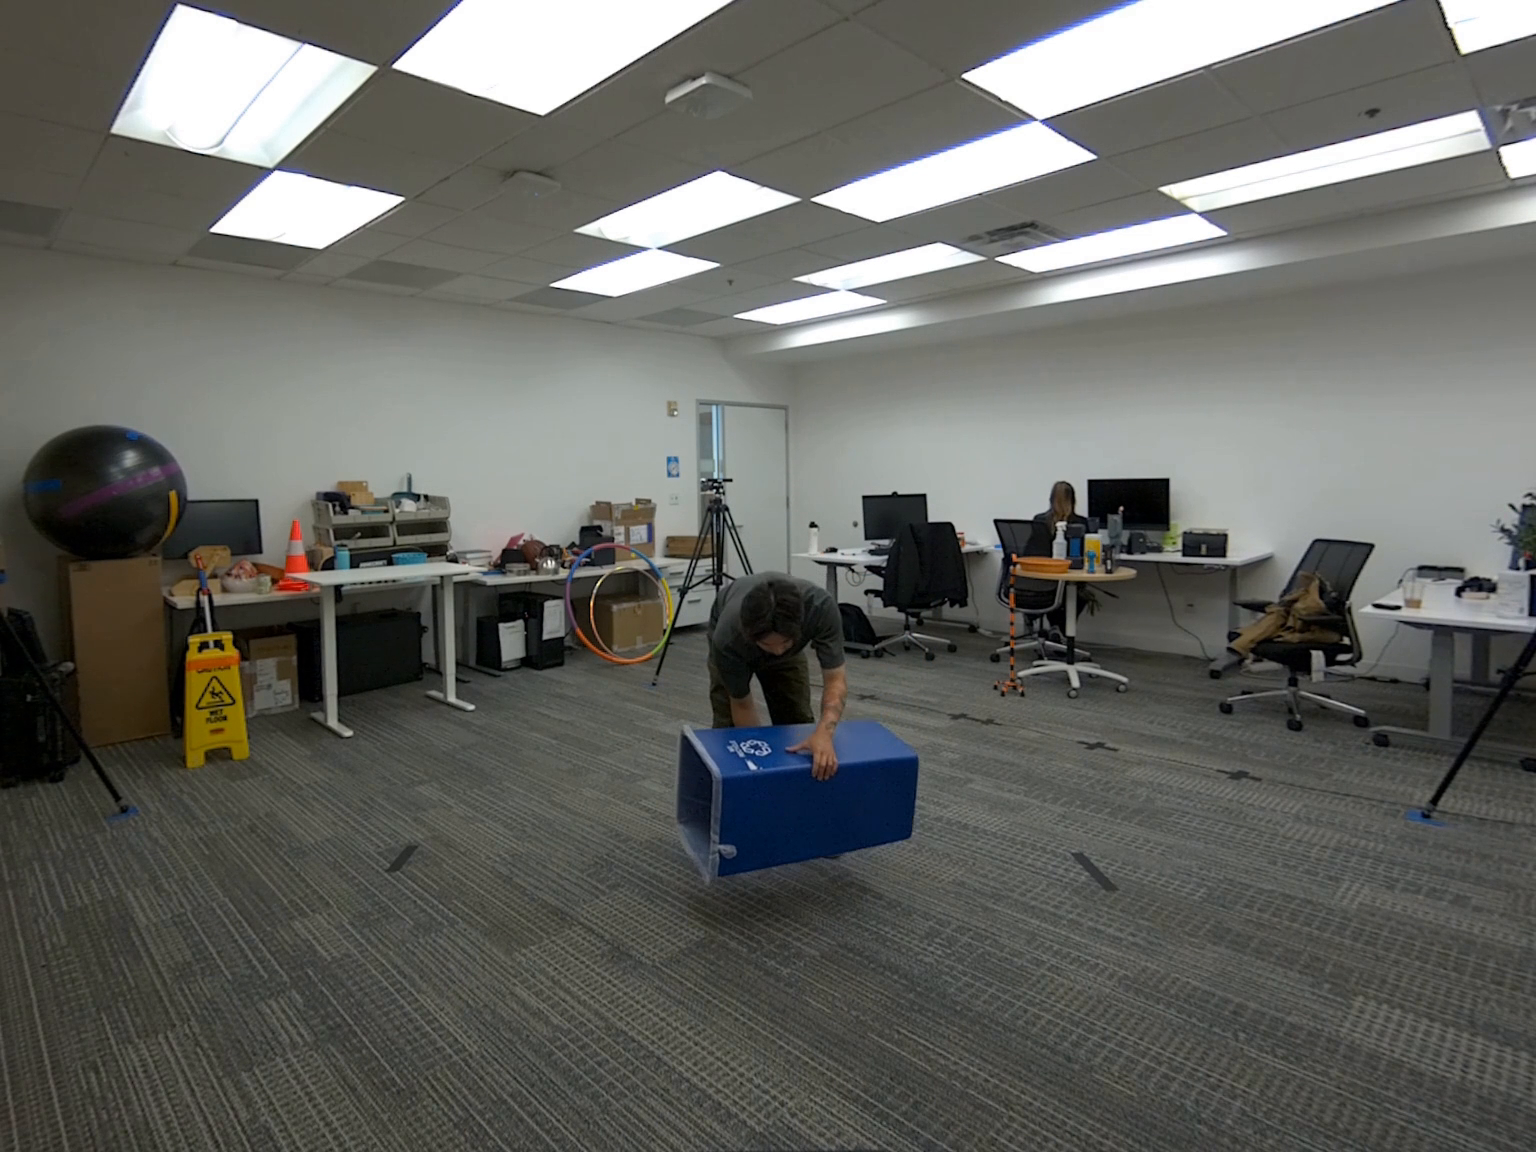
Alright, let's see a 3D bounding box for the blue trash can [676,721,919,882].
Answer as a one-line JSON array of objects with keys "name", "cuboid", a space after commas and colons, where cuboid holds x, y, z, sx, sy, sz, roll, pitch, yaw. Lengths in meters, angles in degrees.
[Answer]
[{"name": "blue trash can", "cuboid": [0.096, 0.703, 2.794, 0.700, 0.371, 0.388, -1, 12, -20]}]
